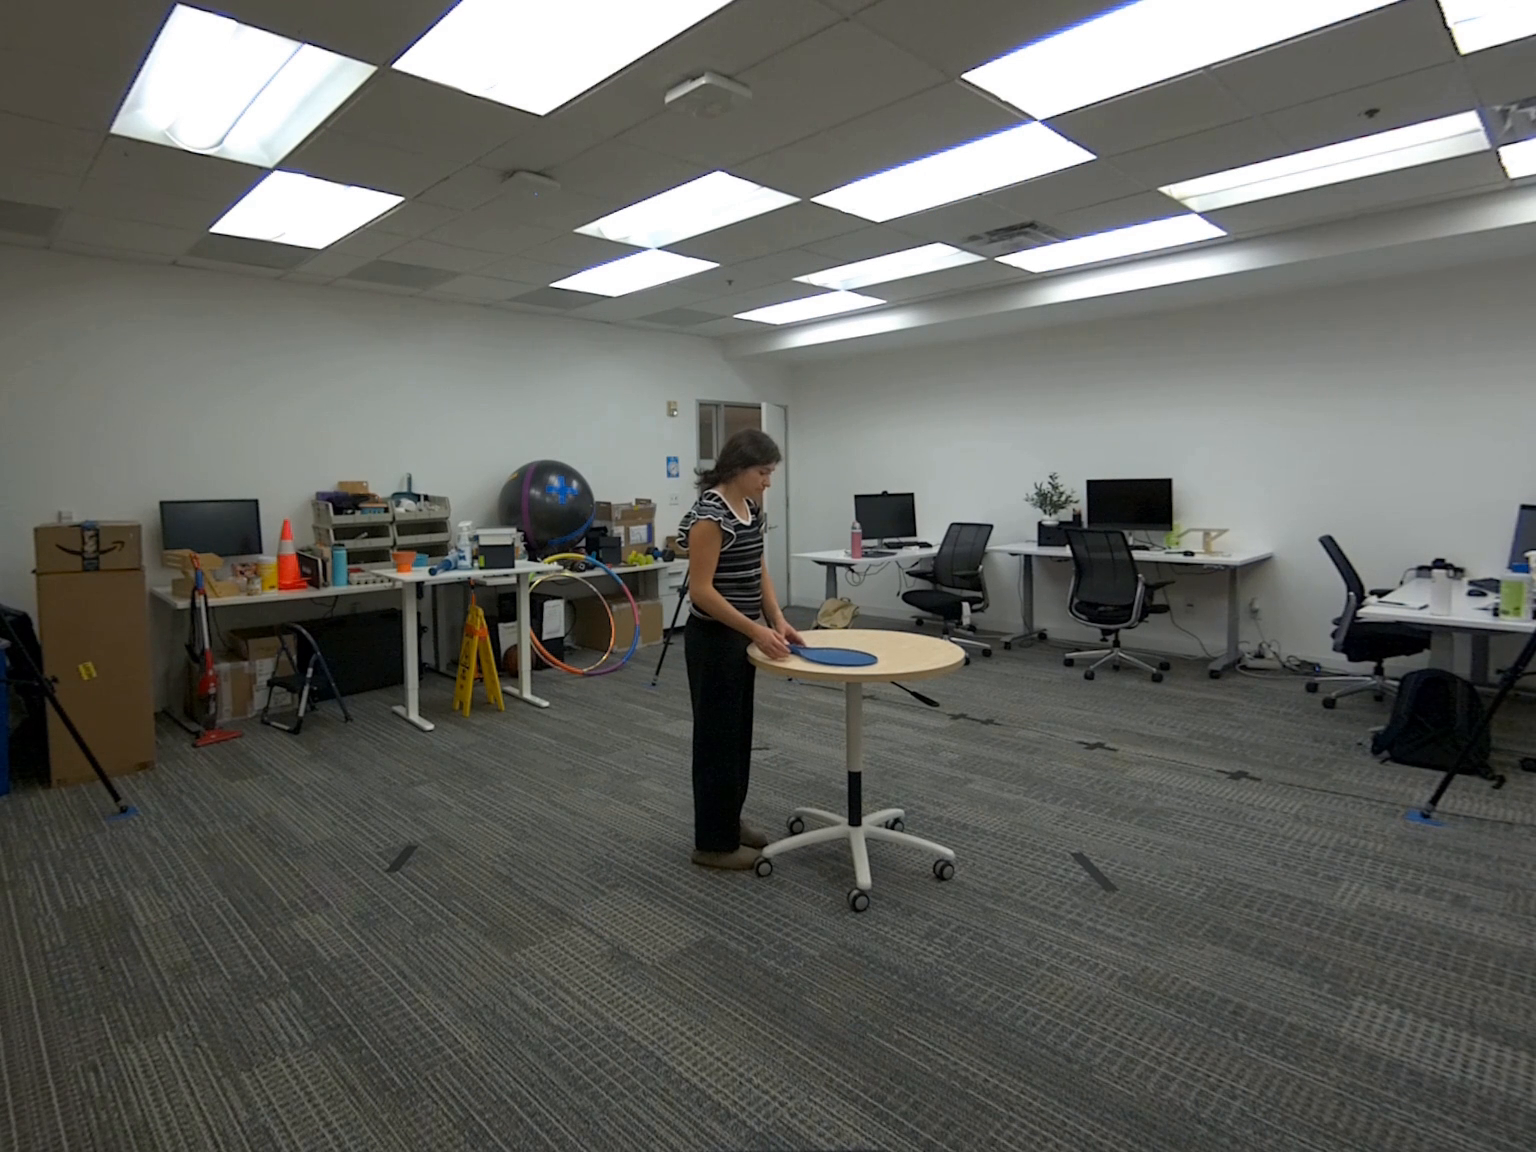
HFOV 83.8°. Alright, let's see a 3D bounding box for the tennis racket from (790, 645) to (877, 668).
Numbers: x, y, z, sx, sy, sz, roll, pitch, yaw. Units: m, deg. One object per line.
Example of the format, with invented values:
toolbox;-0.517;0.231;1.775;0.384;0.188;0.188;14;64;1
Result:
tennis racket;0.173;0.271;2.914;0.445;0.031;0.209;4;7;32
